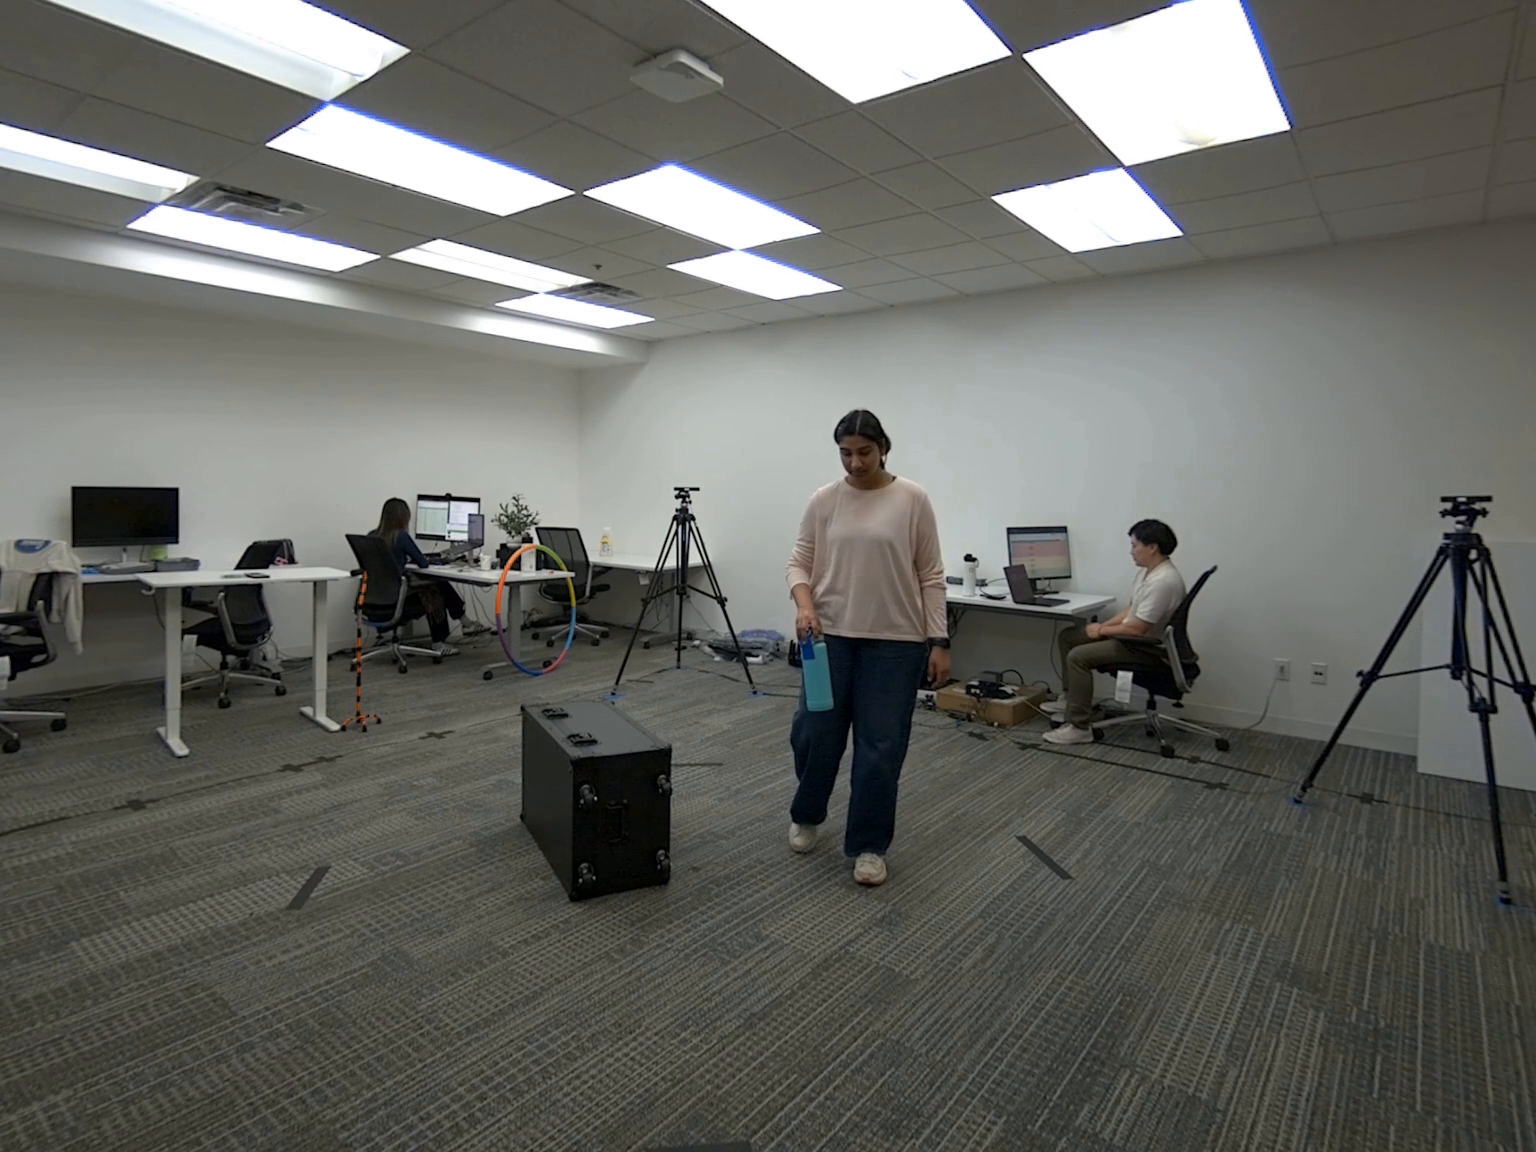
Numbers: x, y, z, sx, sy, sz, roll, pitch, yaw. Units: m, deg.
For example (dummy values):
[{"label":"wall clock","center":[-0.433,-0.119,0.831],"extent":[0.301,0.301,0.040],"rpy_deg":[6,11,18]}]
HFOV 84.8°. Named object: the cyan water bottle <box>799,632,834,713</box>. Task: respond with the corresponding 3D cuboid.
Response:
[{"label":"cyan water bottle","center":[0.162,0.314,2.947],"extent":[0.092,0.284,0.092],"rpy_deg":[-8,-1,-2]}]
